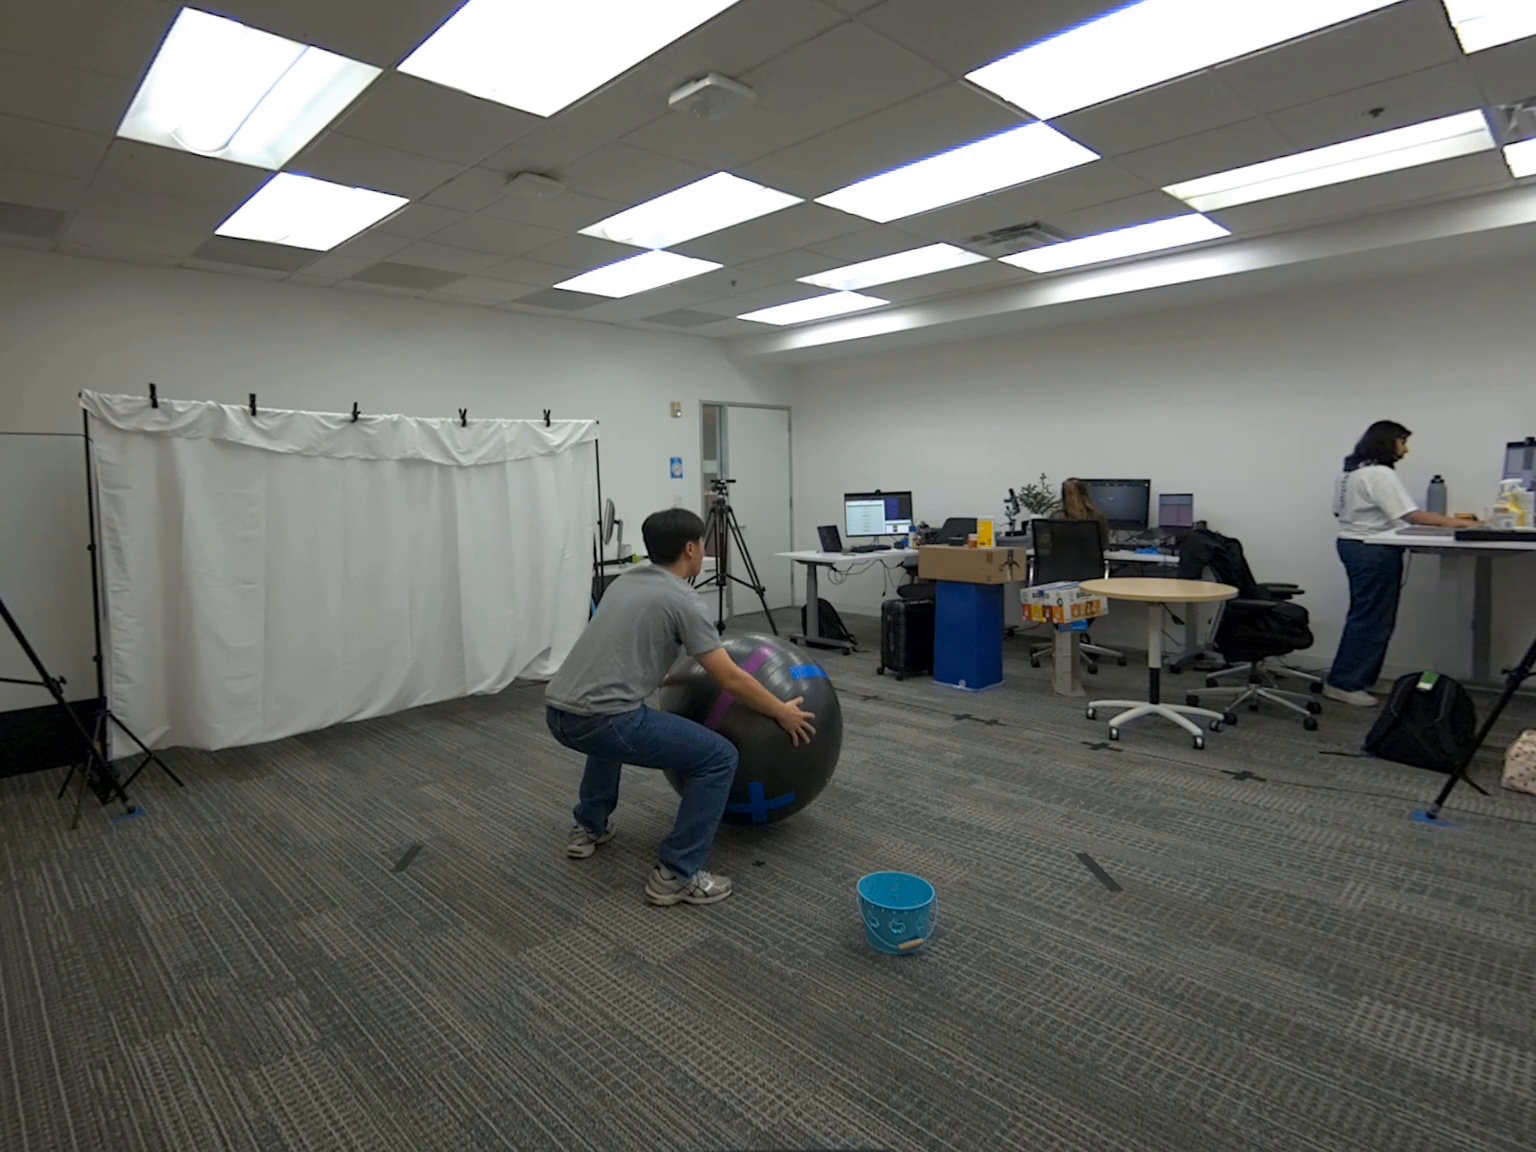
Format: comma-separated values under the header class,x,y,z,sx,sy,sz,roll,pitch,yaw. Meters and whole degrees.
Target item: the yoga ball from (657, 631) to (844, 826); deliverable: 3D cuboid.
class,x,y,z,sx,sy,sz,roll,pitch,yaw
yoga ball,-0.065,0.593,3.442,0.757,0.755,0.762,-1,5,-2
